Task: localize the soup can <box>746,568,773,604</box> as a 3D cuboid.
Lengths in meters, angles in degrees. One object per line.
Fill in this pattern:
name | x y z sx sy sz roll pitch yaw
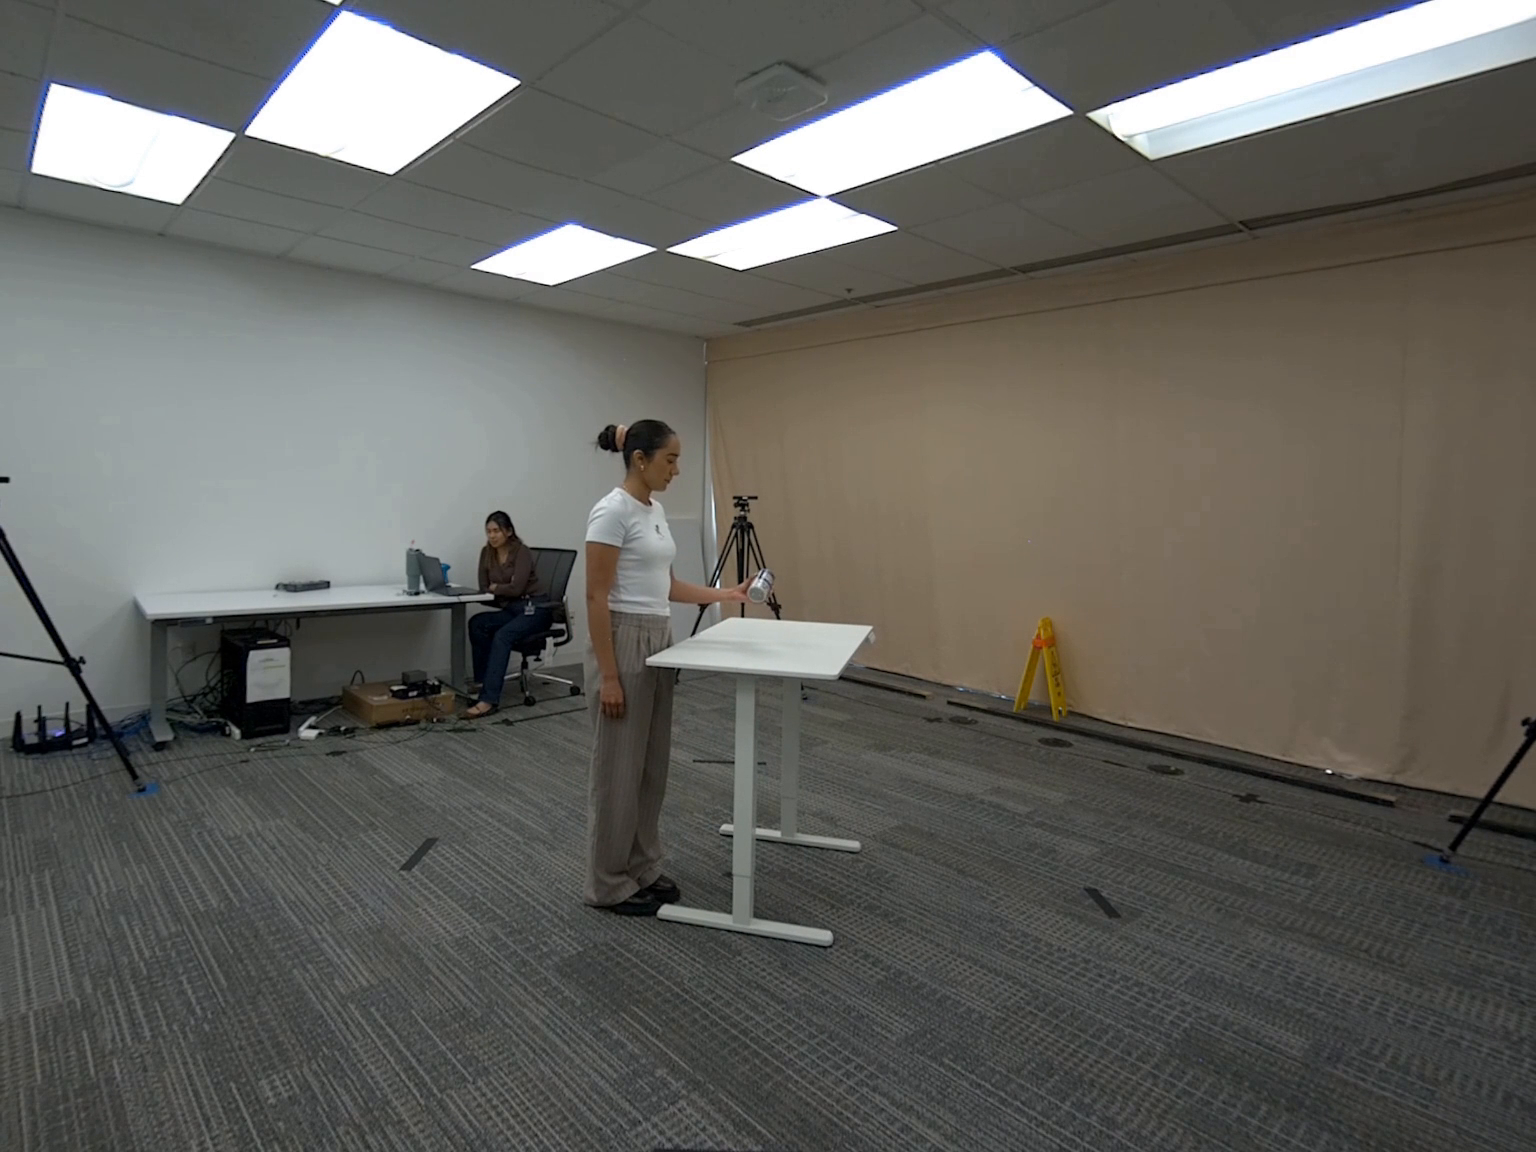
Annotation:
soup can | -0.028 0.028 2.936 0.068 0.066 0.122 2 28 16
